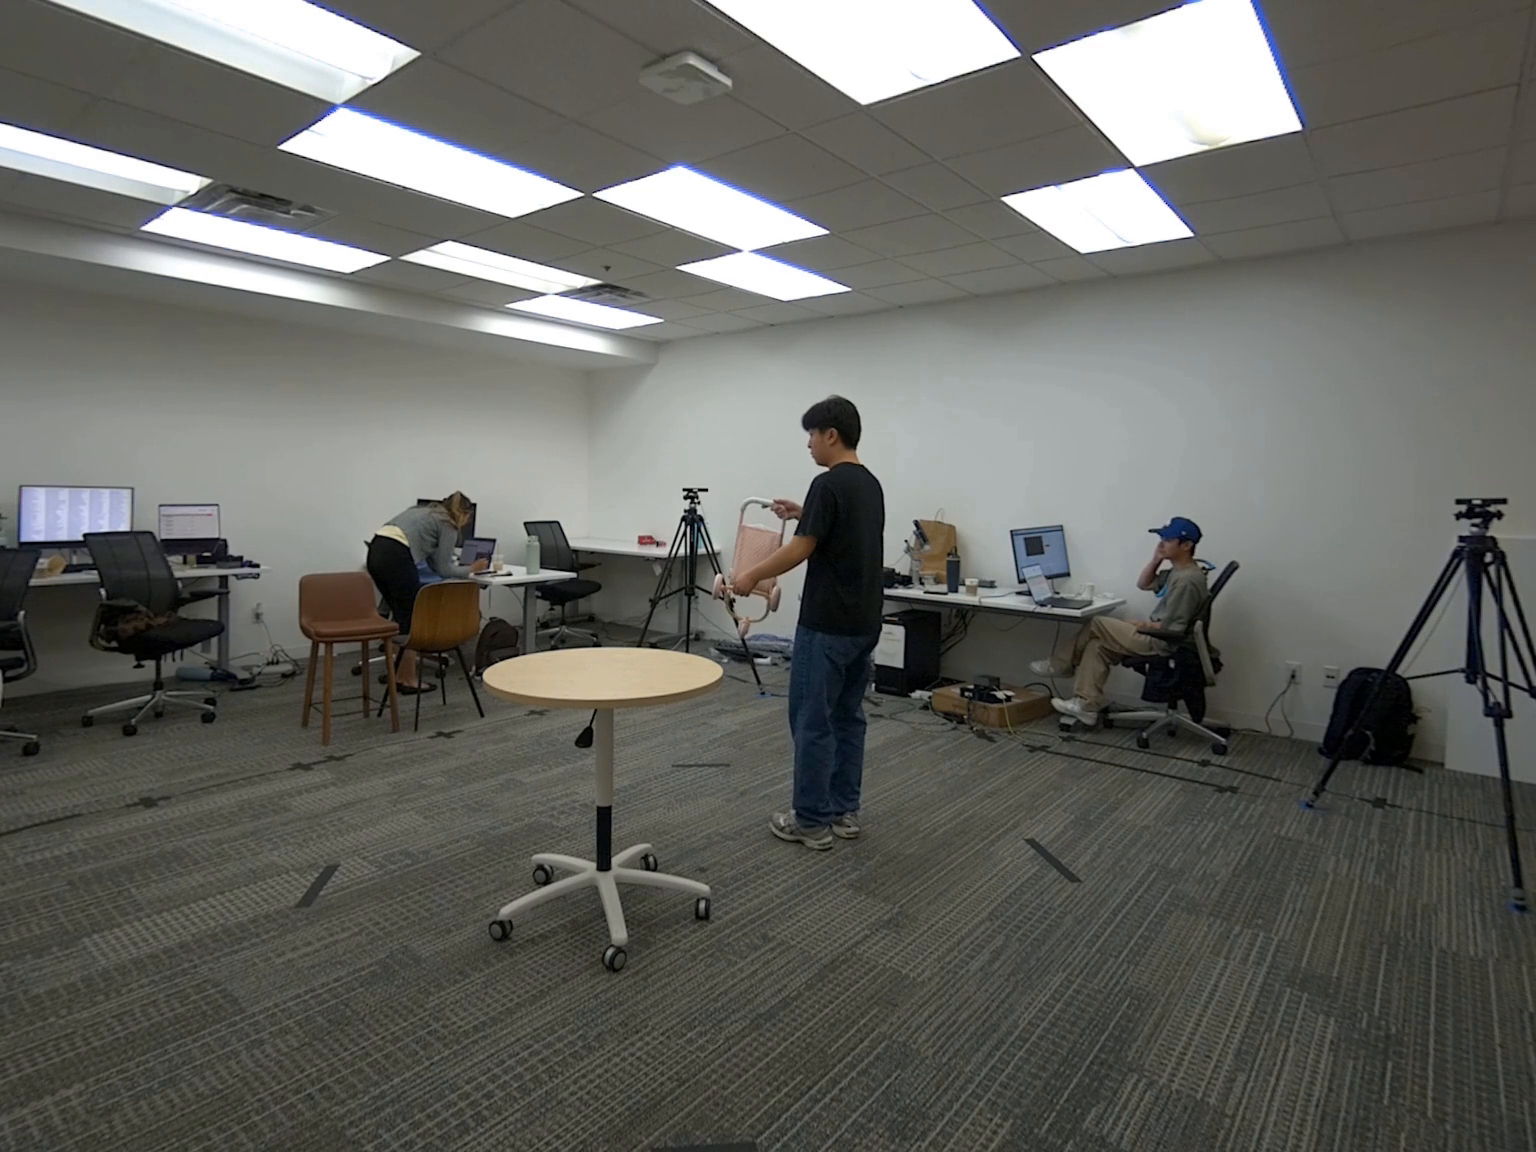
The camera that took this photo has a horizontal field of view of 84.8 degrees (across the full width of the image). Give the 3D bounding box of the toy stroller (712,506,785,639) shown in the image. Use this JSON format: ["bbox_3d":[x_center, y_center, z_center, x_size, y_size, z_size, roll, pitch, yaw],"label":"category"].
[{"bbox_3d":[-0.071,-0.026,3.697,0.285,0.544,0.331,7,-25,10],"label":"toy stroller"}]
